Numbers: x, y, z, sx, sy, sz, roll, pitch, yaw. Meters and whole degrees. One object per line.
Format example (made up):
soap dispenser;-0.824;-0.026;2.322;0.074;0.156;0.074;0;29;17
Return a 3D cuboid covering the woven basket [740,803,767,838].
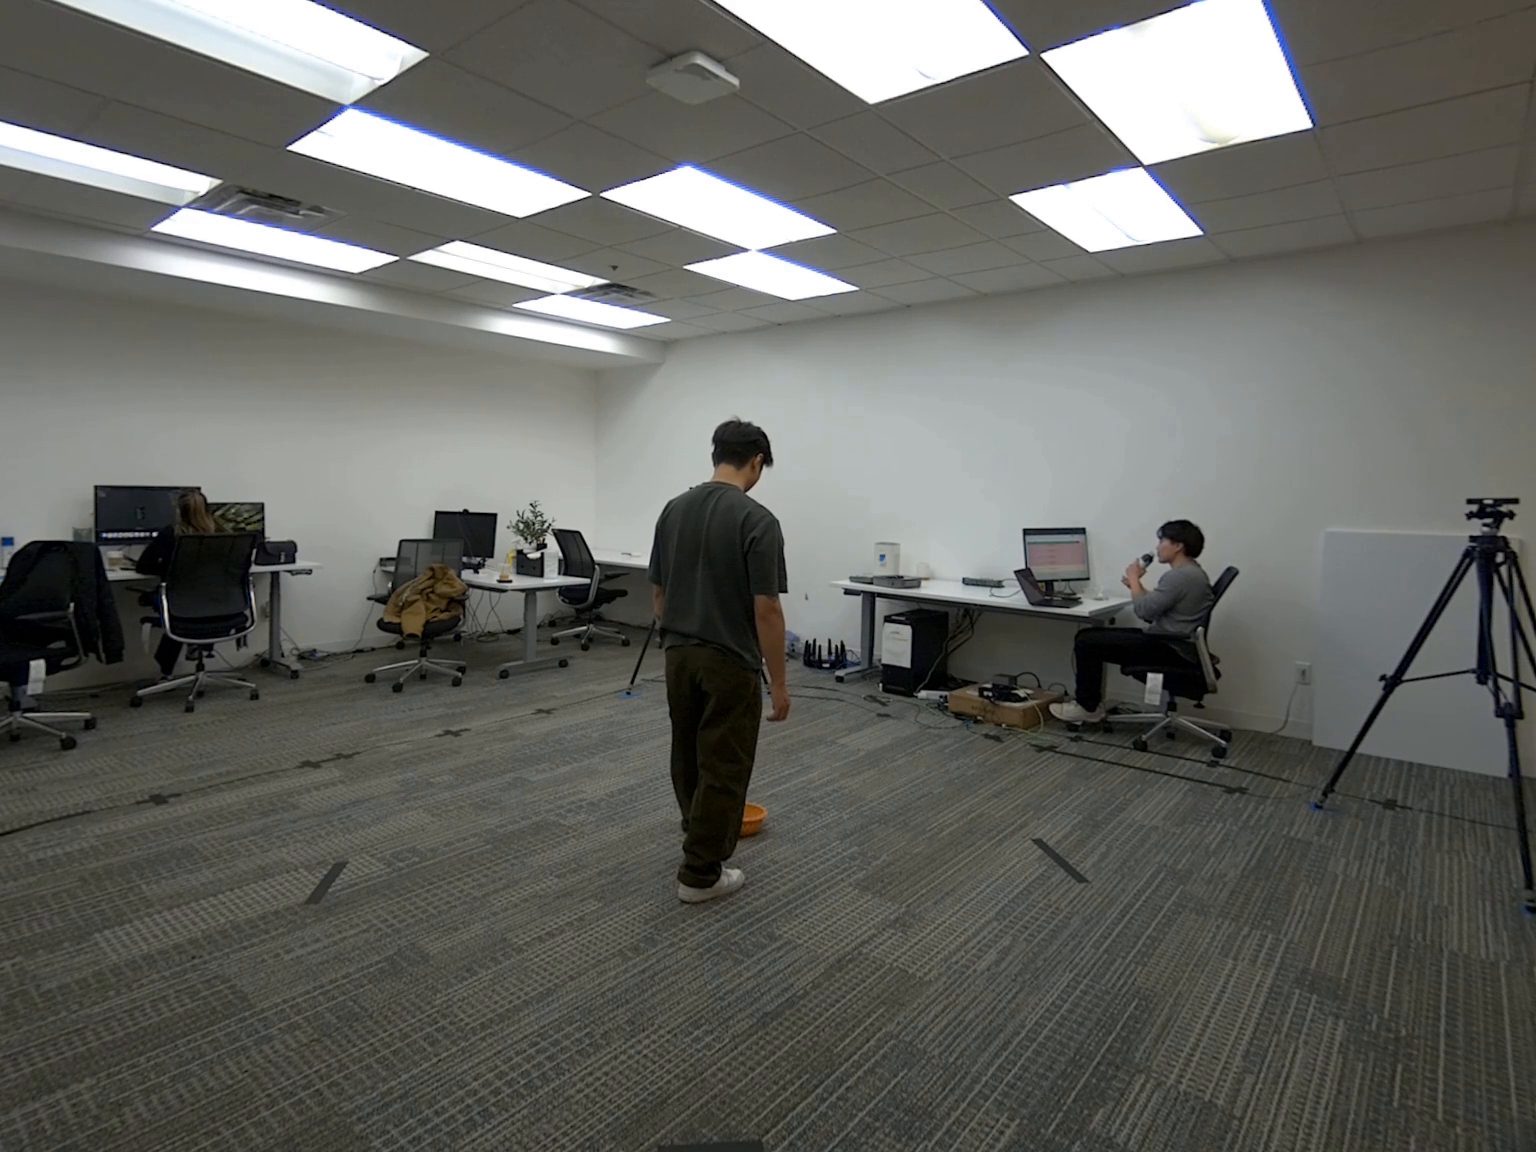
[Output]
woven basket;-0.185;0.985;3.480;0.351;0.073;0.252;0;3;0
